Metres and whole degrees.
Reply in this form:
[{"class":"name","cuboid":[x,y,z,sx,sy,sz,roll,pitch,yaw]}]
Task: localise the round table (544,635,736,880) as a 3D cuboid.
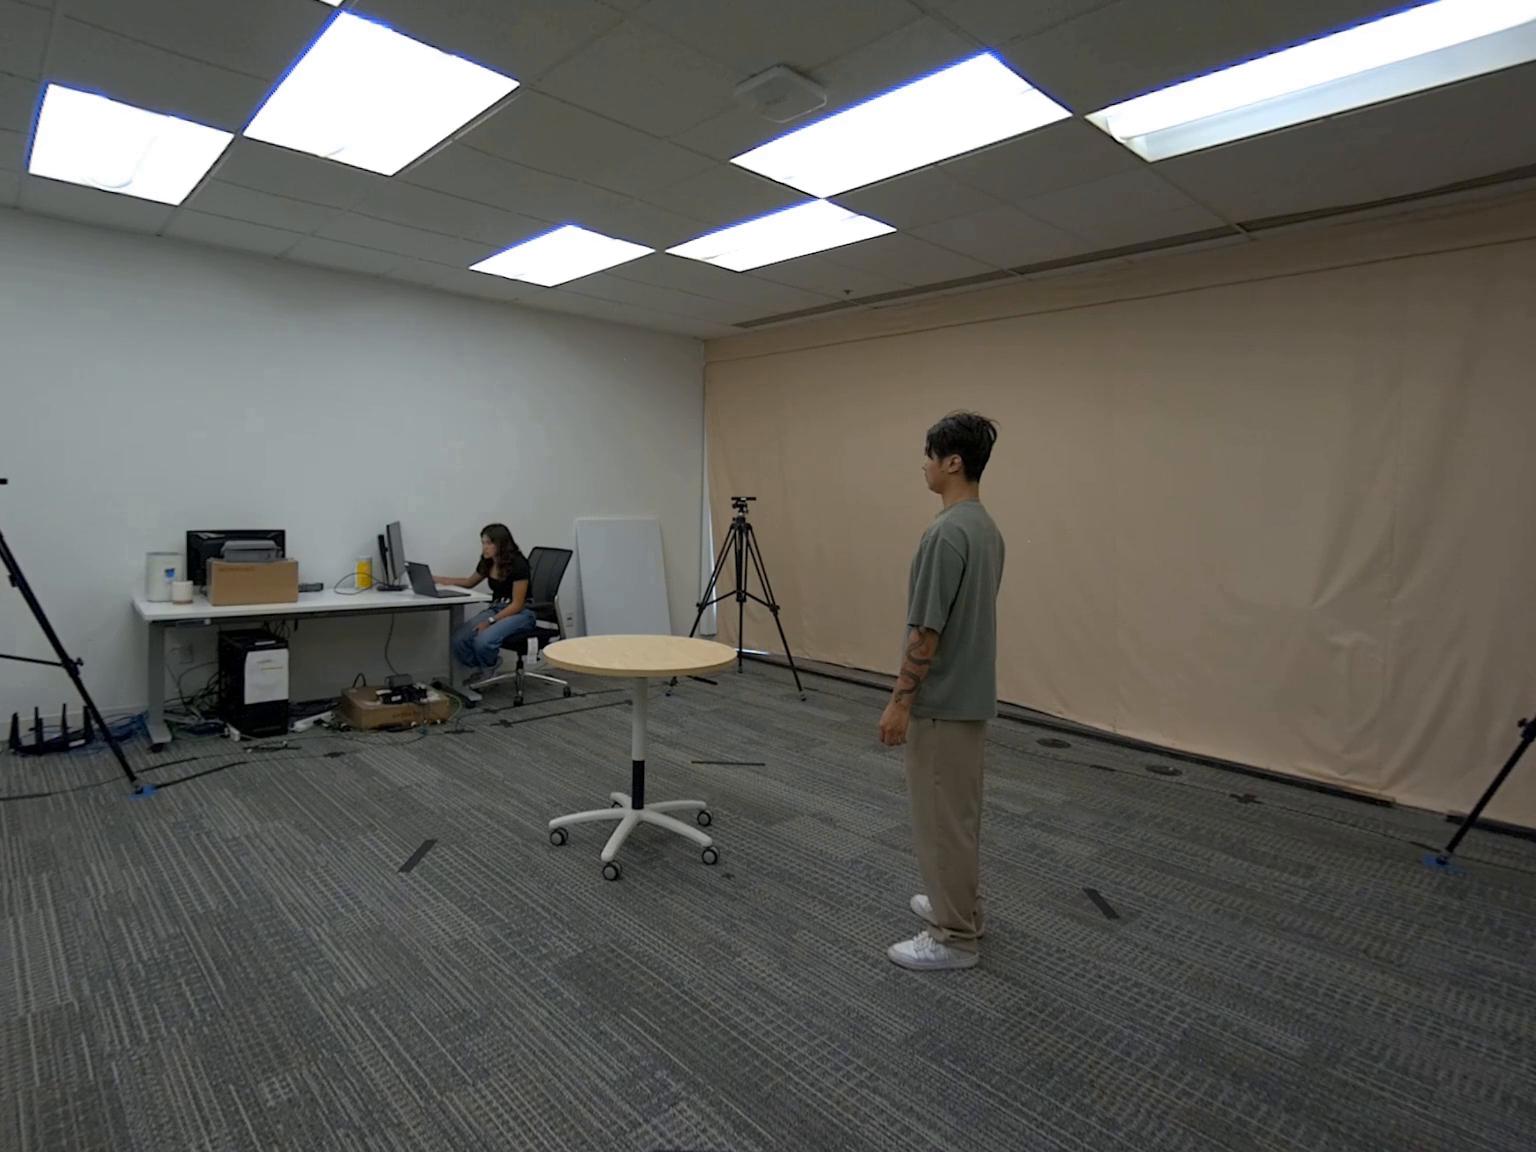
[{"class":"round table","cuboid":[-0.524,0.686,3.356,0.784,0.785,0.787,1,4,-1]}]
